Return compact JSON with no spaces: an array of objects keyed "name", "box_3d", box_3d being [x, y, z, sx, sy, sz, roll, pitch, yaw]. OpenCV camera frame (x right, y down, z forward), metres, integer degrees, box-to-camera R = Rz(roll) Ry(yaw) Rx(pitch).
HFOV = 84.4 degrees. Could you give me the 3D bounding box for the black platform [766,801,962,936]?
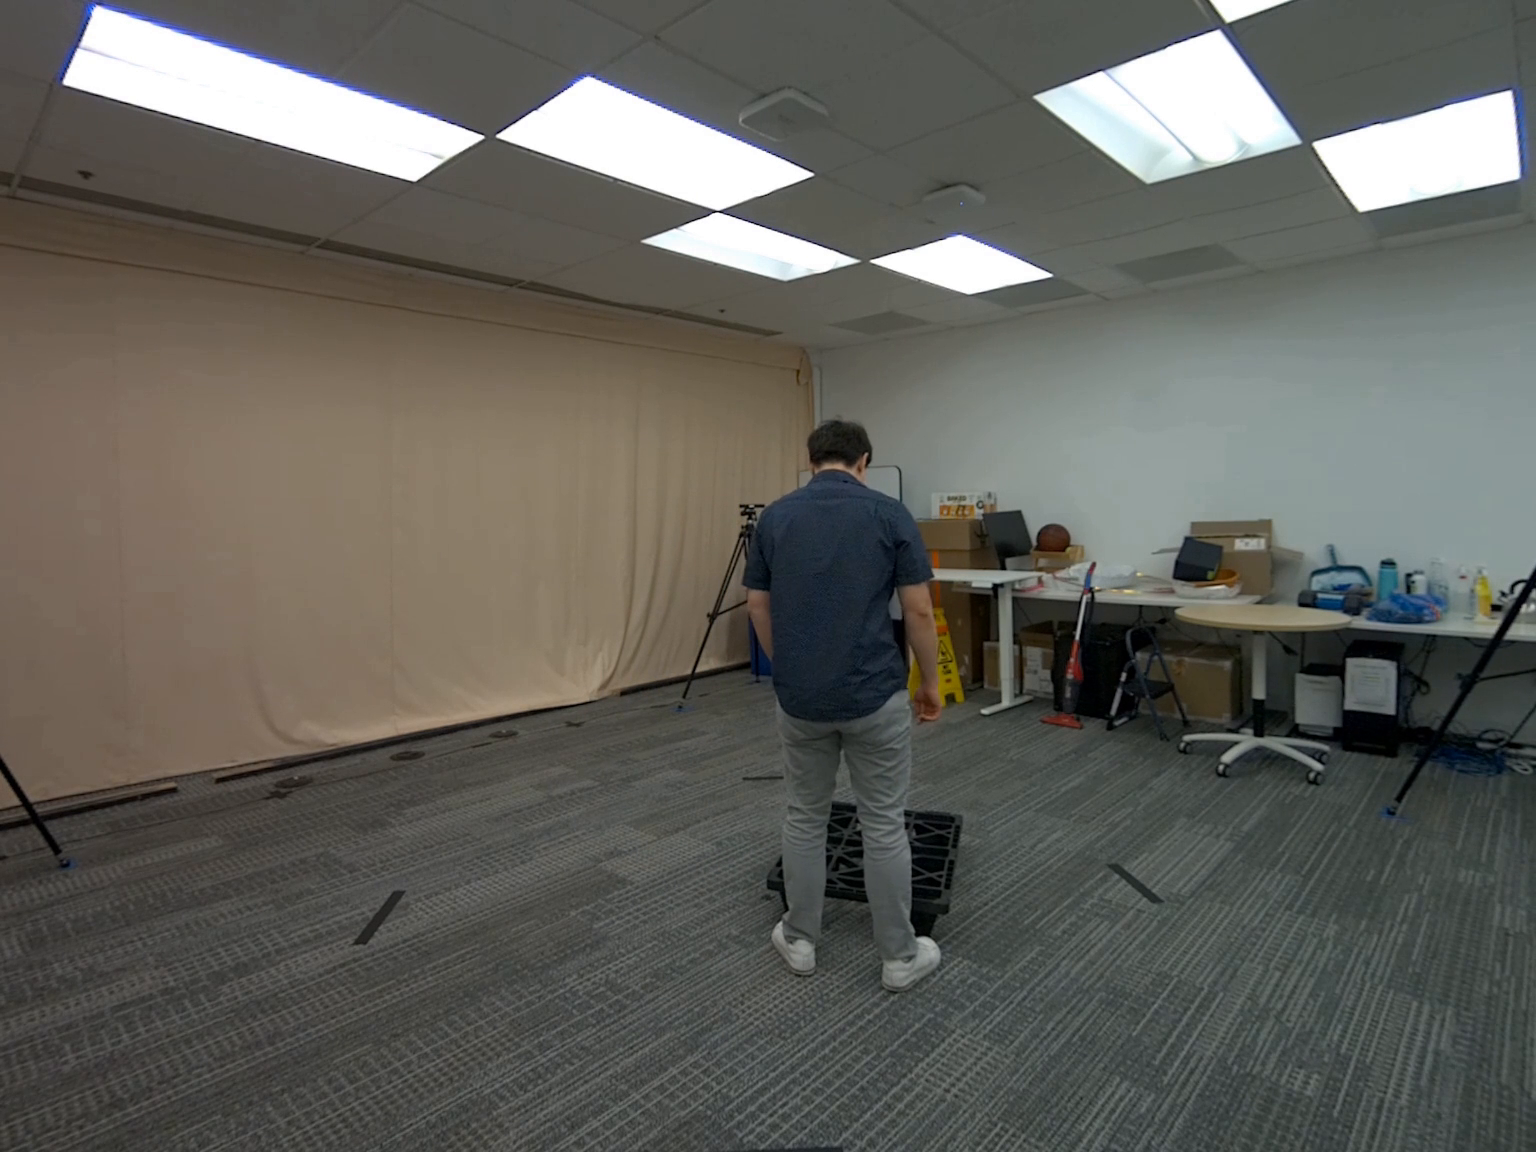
[{"name":"black platform","box_3d":[0.393,1.055,3.109,0.617,0.143,0.792,1,5,17]}]
